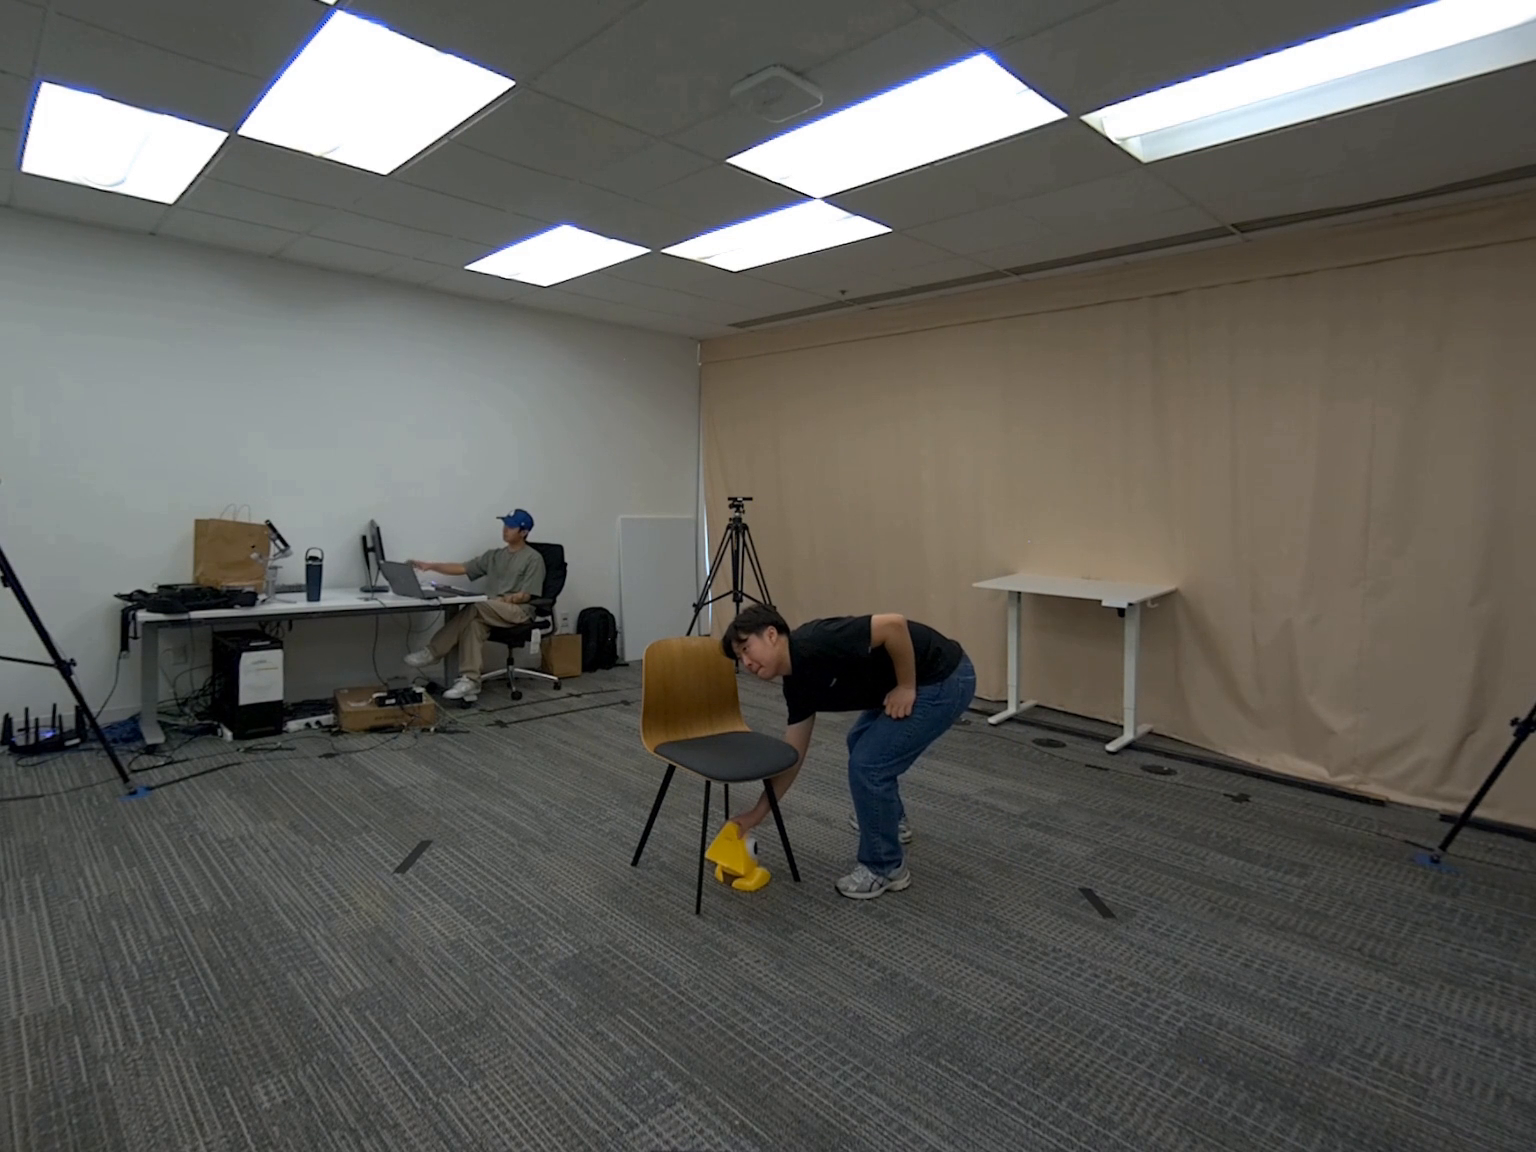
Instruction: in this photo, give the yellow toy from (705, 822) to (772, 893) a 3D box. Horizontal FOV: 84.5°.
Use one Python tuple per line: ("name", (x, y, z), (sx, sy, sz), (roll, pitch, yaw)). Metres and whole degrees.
("yellow toy", (-0.104, 0.994, 3.077), (0.210, 0.230, 0.189), (6, 8, 43))
